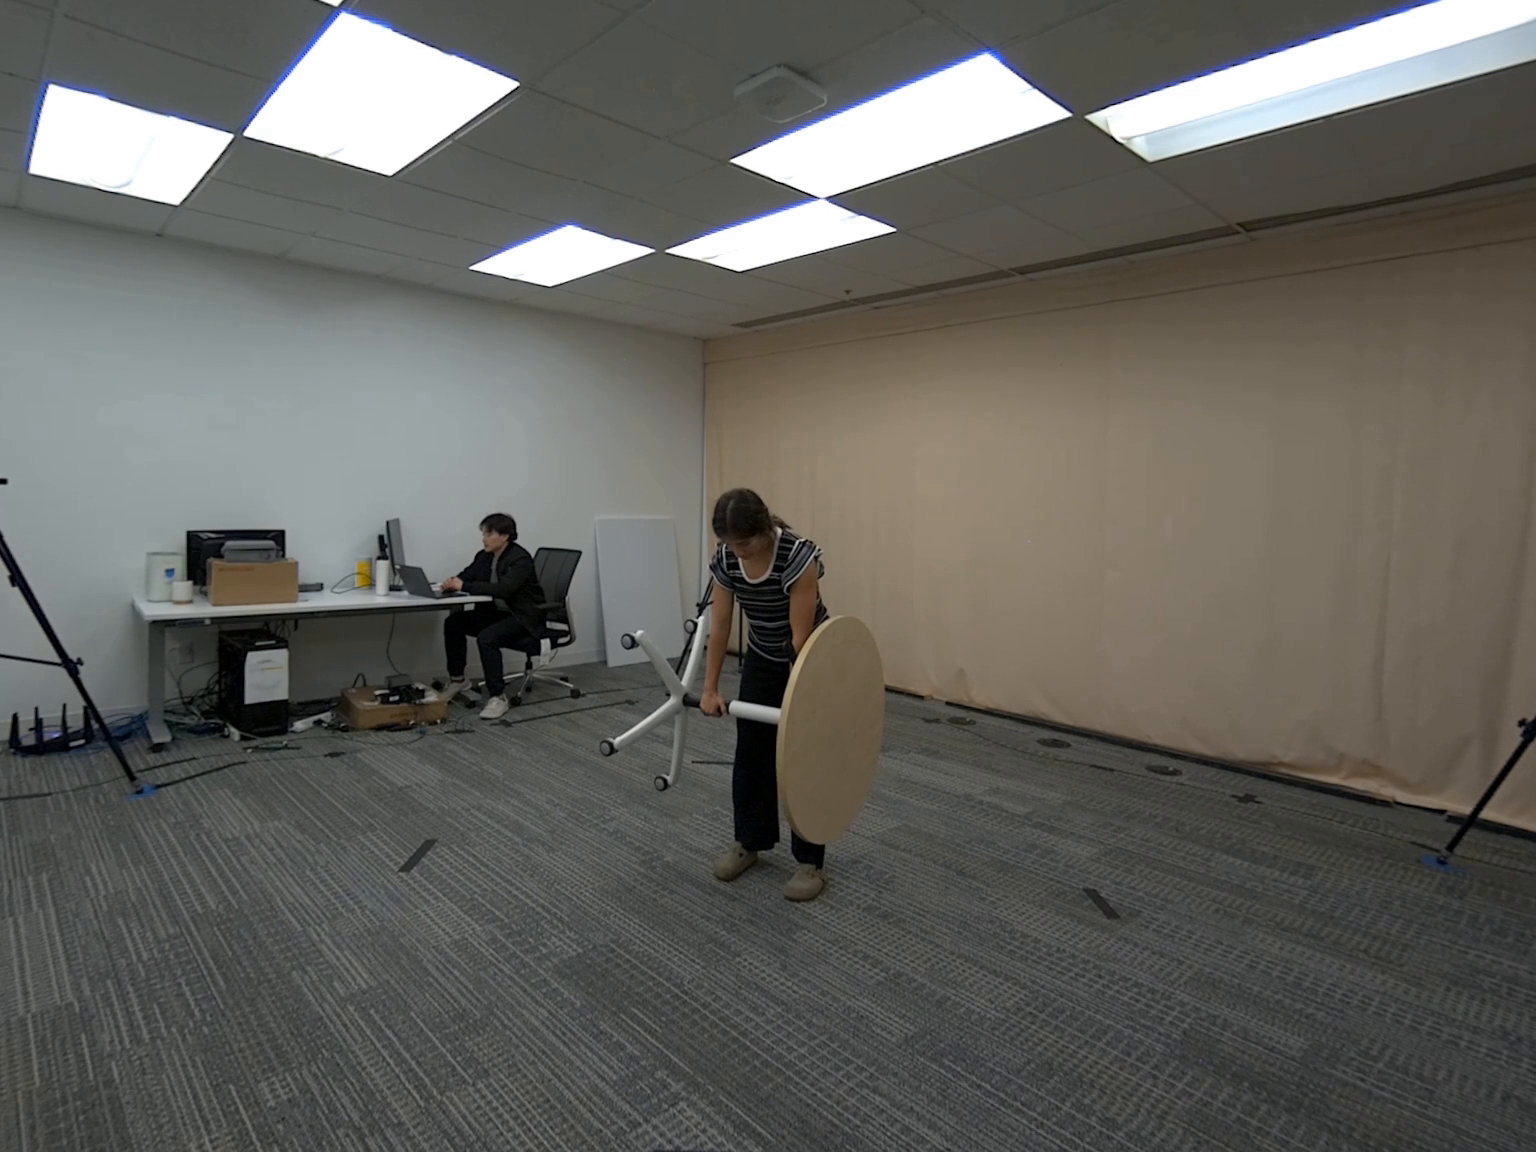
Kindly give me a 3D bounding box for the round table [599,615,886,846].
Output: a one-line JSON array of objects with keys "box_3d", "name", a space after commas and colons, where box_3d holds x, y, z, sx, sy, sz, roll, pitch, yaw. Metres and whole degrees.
[{"box_3d": [-0.103, 0.504, 3.086, 0.812, 0.762, 0.748, 3, 4, 33], "name": "round table"}]
